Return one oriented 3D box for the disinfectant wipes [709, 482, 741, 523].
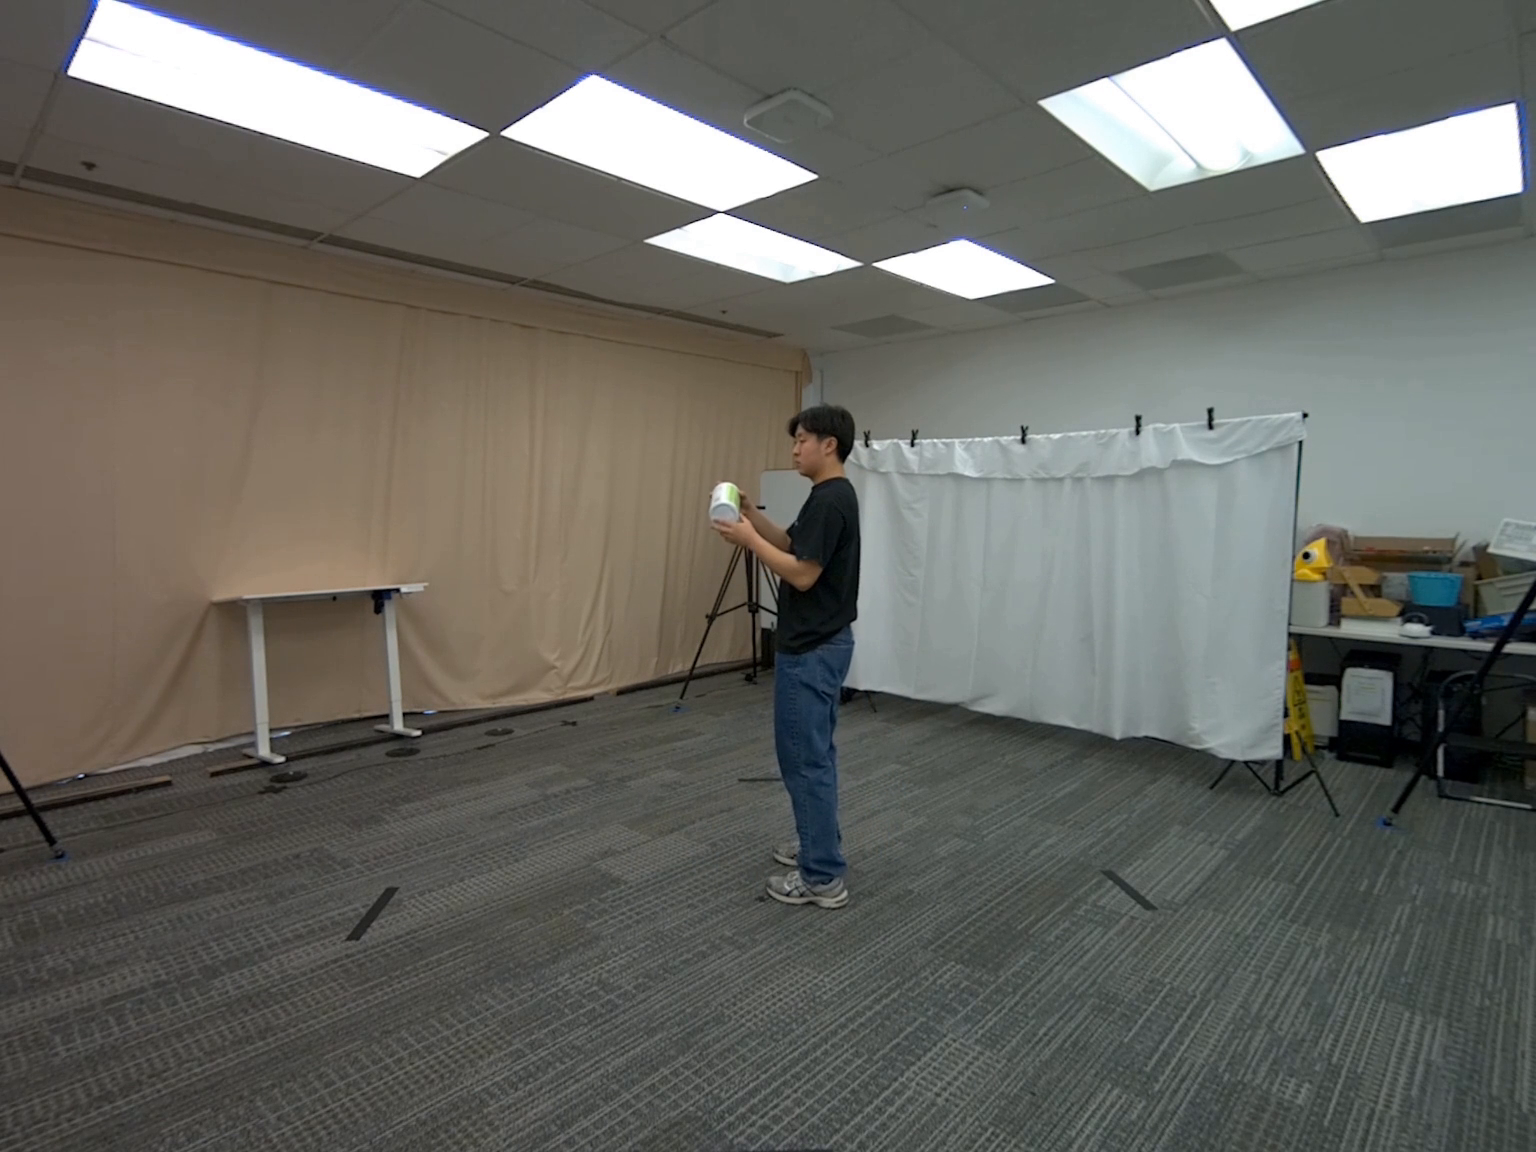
[{"bbox_3d":[-0.158,-0.256,3.156,0.118,0.116,0.221,0,31,-1],"label":"disinfectant wipes"}]
